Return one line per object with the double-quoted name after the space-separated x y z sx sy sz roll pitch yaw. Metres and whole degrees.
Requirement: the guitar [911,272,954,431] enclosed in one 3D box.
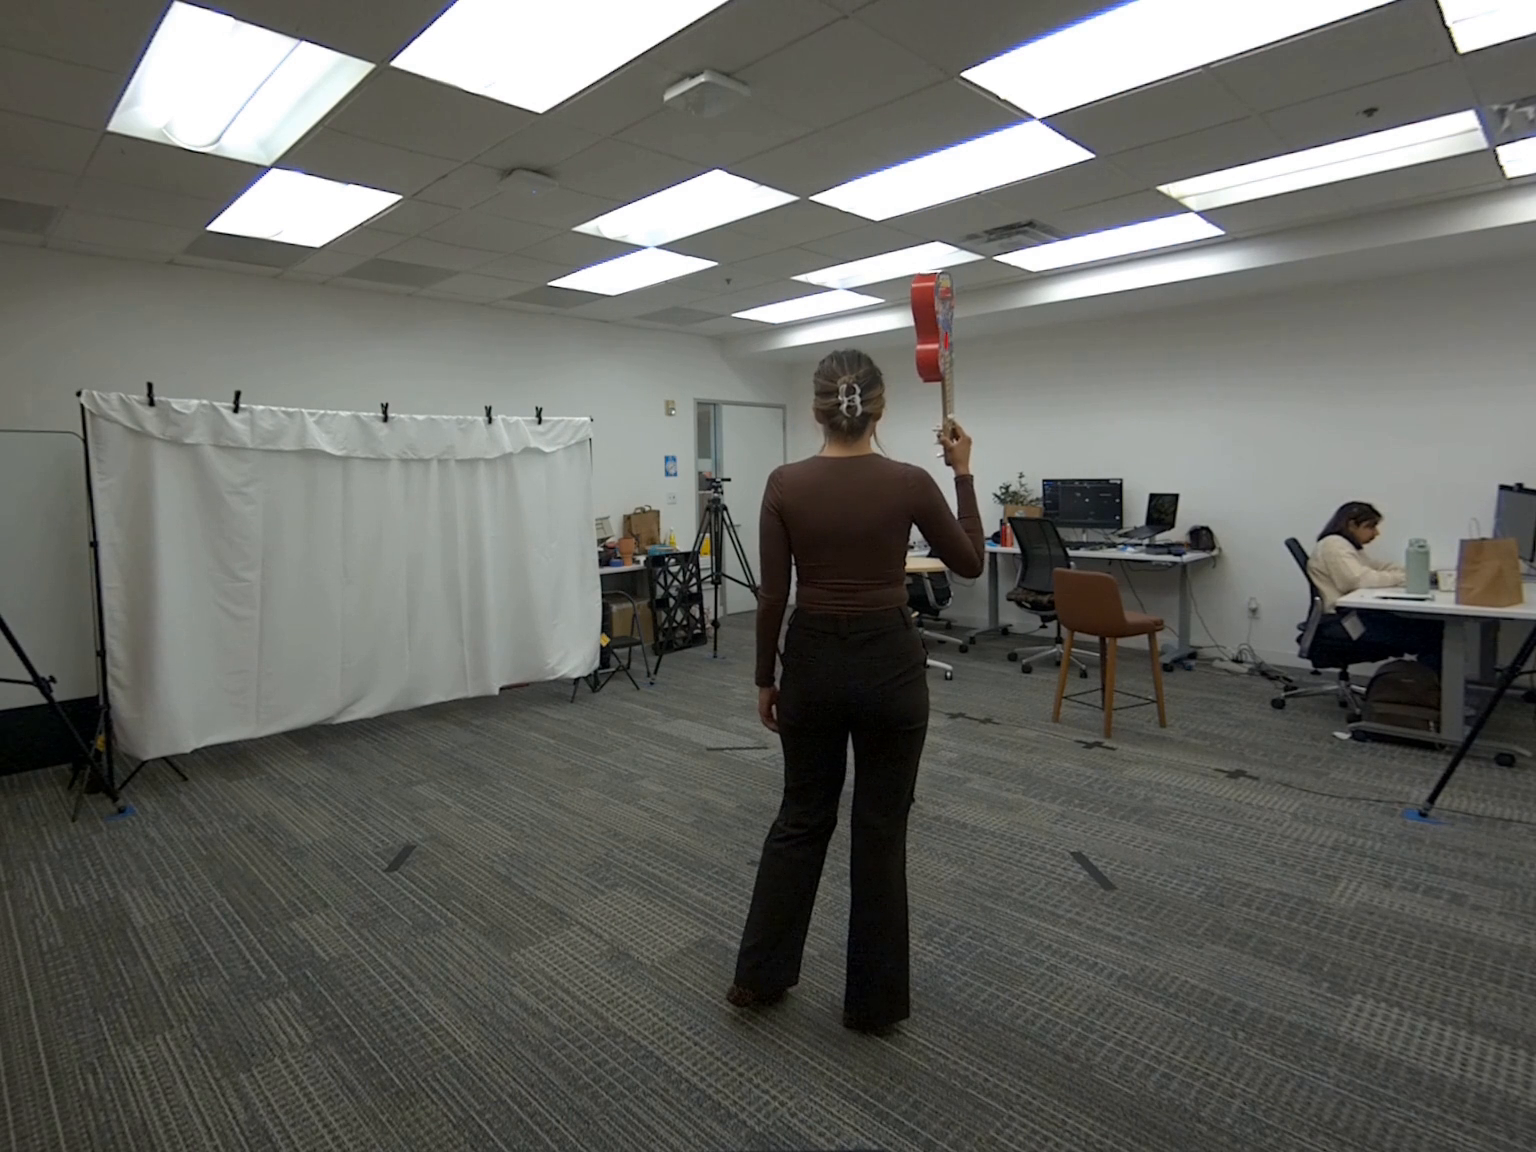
0.435 -0.527 2.183 0.072 0.495 0.189 2 7 24 "guitar"
